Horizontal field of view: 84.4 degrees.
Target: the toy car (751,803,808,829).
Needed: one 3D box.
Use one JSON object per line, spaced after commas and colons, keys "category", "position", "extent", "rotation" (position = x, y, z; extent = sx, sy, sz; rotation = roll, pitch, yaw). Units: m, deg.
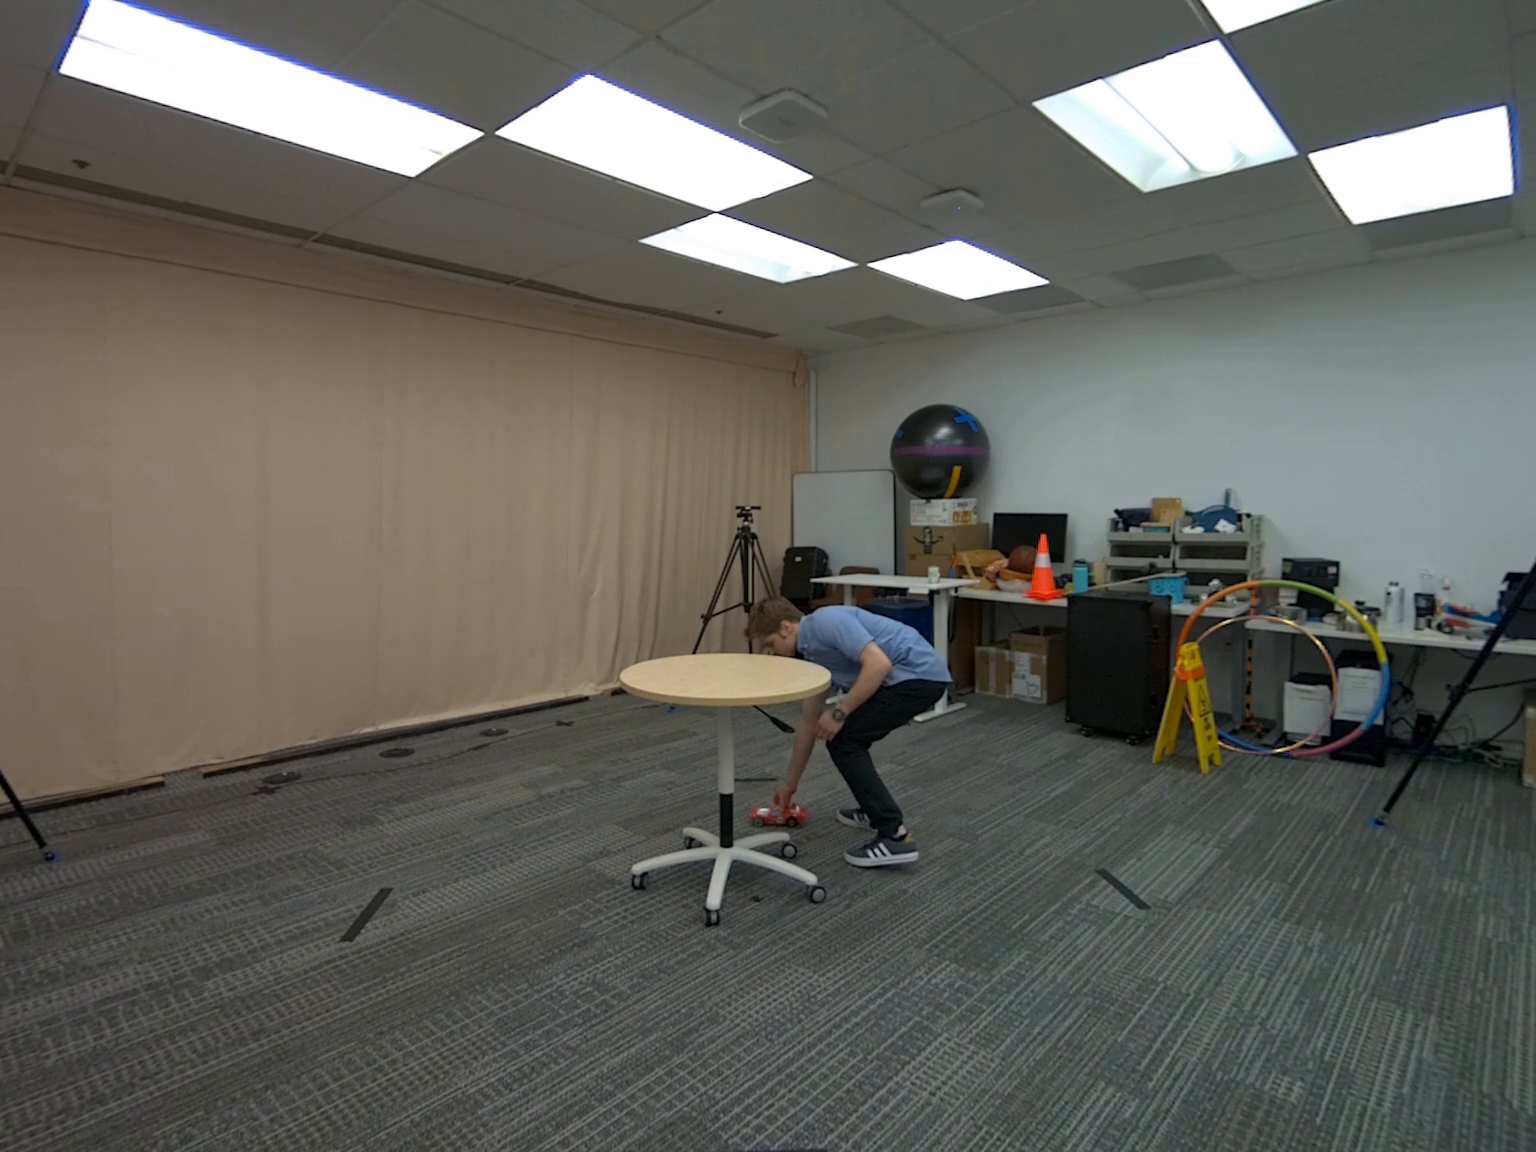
{"category": "toy car", "position": [0.058, 1.058, 3.713], "extent": [0.255, 0.083, 0.130], "rotation": [-11, 4, 4]}
